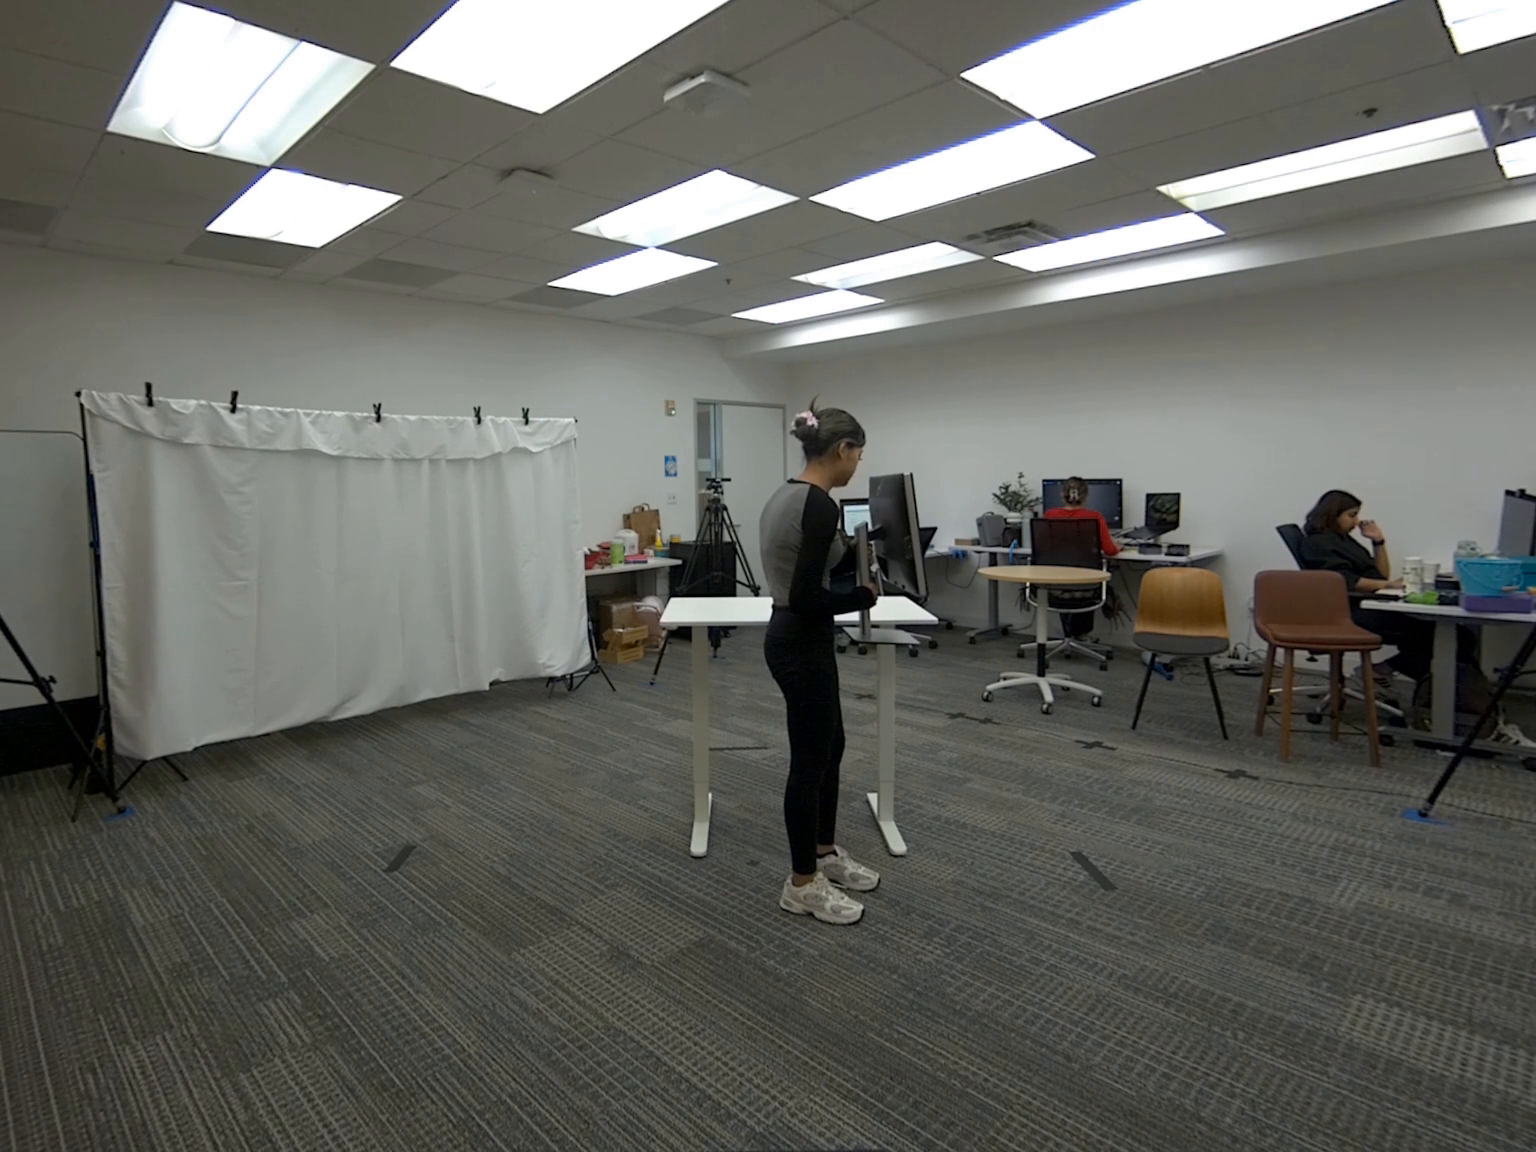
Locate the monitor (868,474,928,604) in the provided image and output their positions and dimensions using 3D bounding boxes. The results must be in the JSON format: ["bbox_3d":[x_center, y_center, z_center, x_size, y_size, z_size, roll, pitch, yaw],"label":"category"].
[{"bbox_3d":[0.361,-0.055,2.719,0.186,0.521,0.543,3,4,-6],"label":"monitor"}]
